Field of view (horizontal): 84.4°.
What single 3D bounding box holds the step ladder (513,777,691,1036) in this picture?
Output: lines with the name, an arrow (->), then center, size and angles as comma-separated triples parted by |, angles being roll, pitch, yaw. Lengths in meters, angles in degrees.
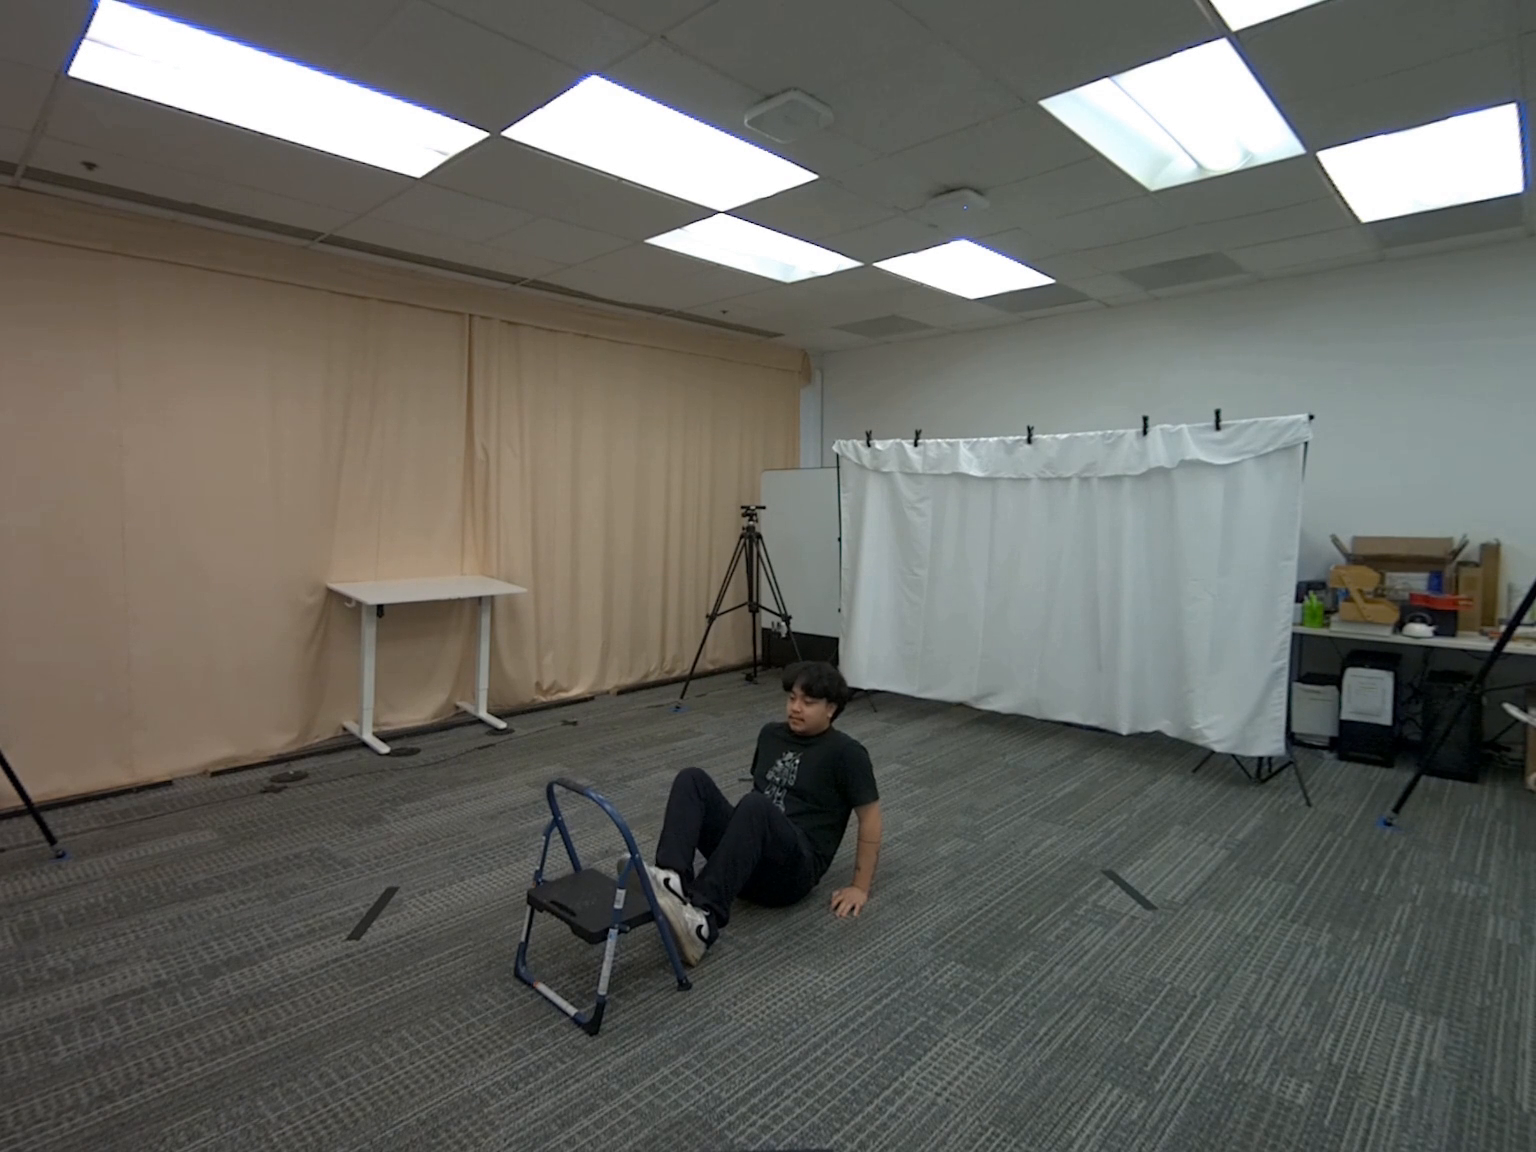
step ladder -> -0.494, 0.889, 2.454 | 0.445, 0.605, 0.338 | 3, 4, 44
